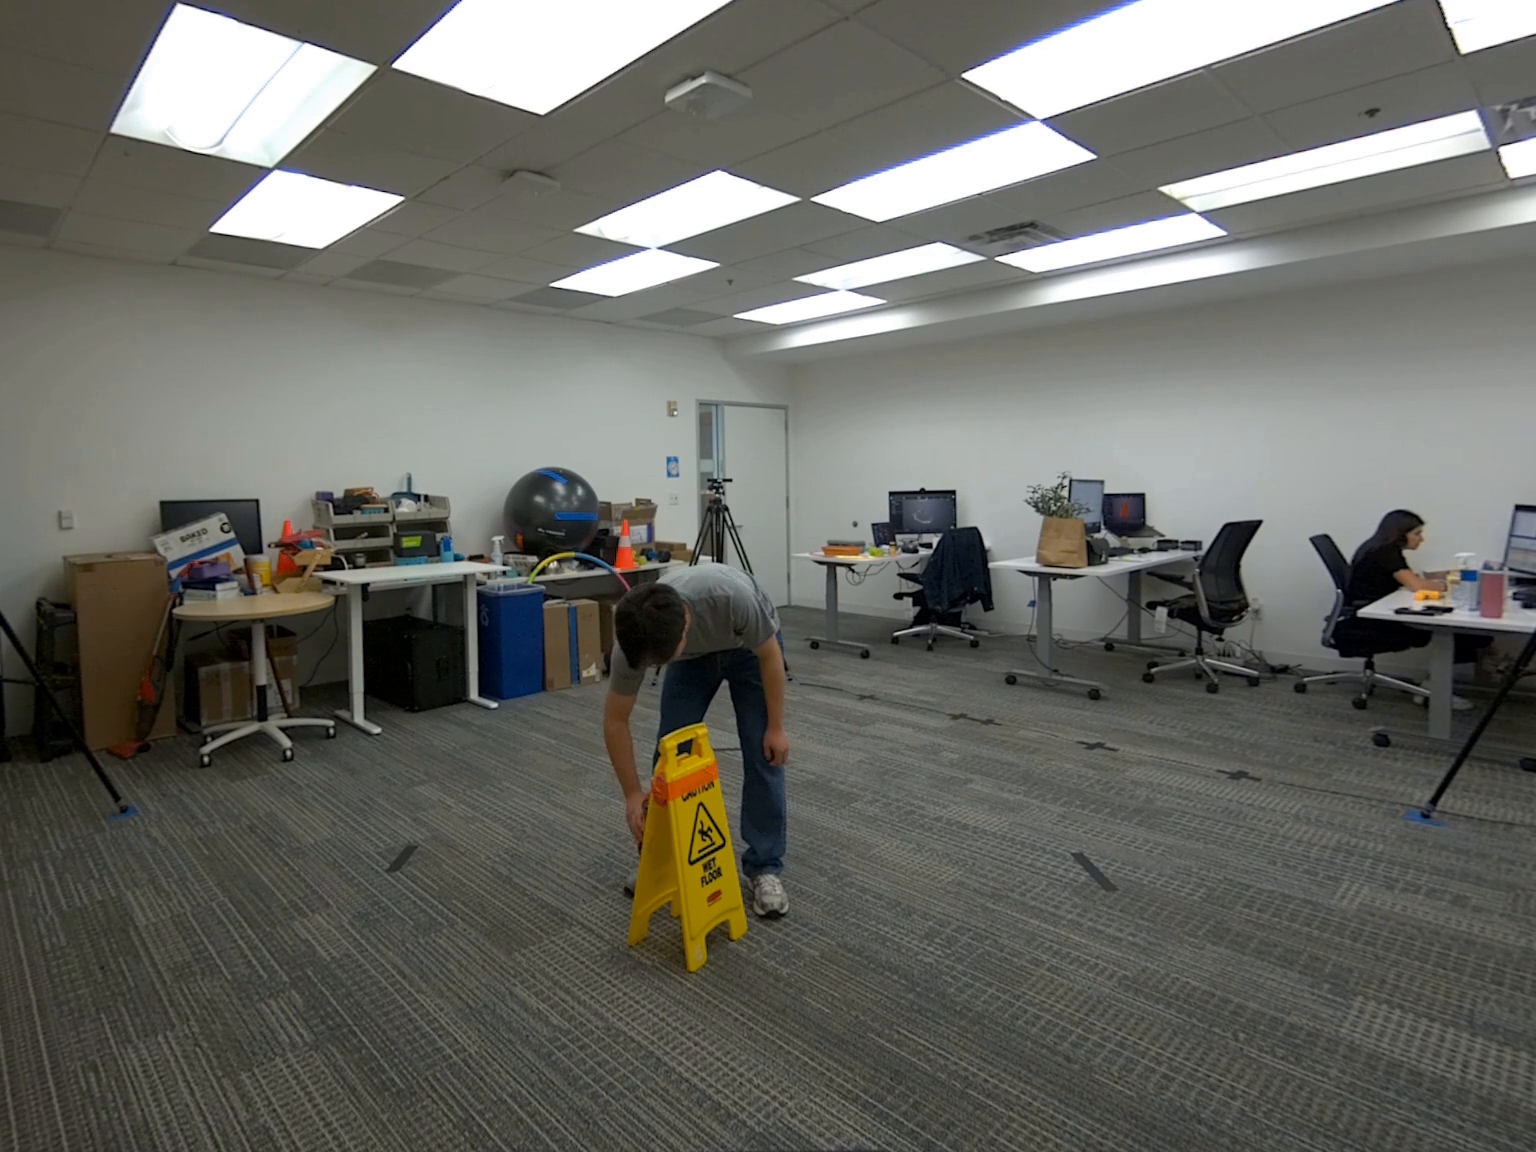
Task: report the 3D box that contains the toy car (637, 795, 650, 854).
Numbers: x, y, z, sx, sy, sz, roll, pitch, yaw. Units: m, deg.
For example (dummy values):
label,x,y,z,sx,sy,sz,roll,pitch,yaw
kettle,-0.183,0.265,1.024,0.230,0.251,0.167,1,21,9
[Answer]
label,x,y,z,sx,sy,sz,roll,pitch,yaw
toy car,-0.314,0.794,2.630,0.085,0.252,0.129,22,18,16
